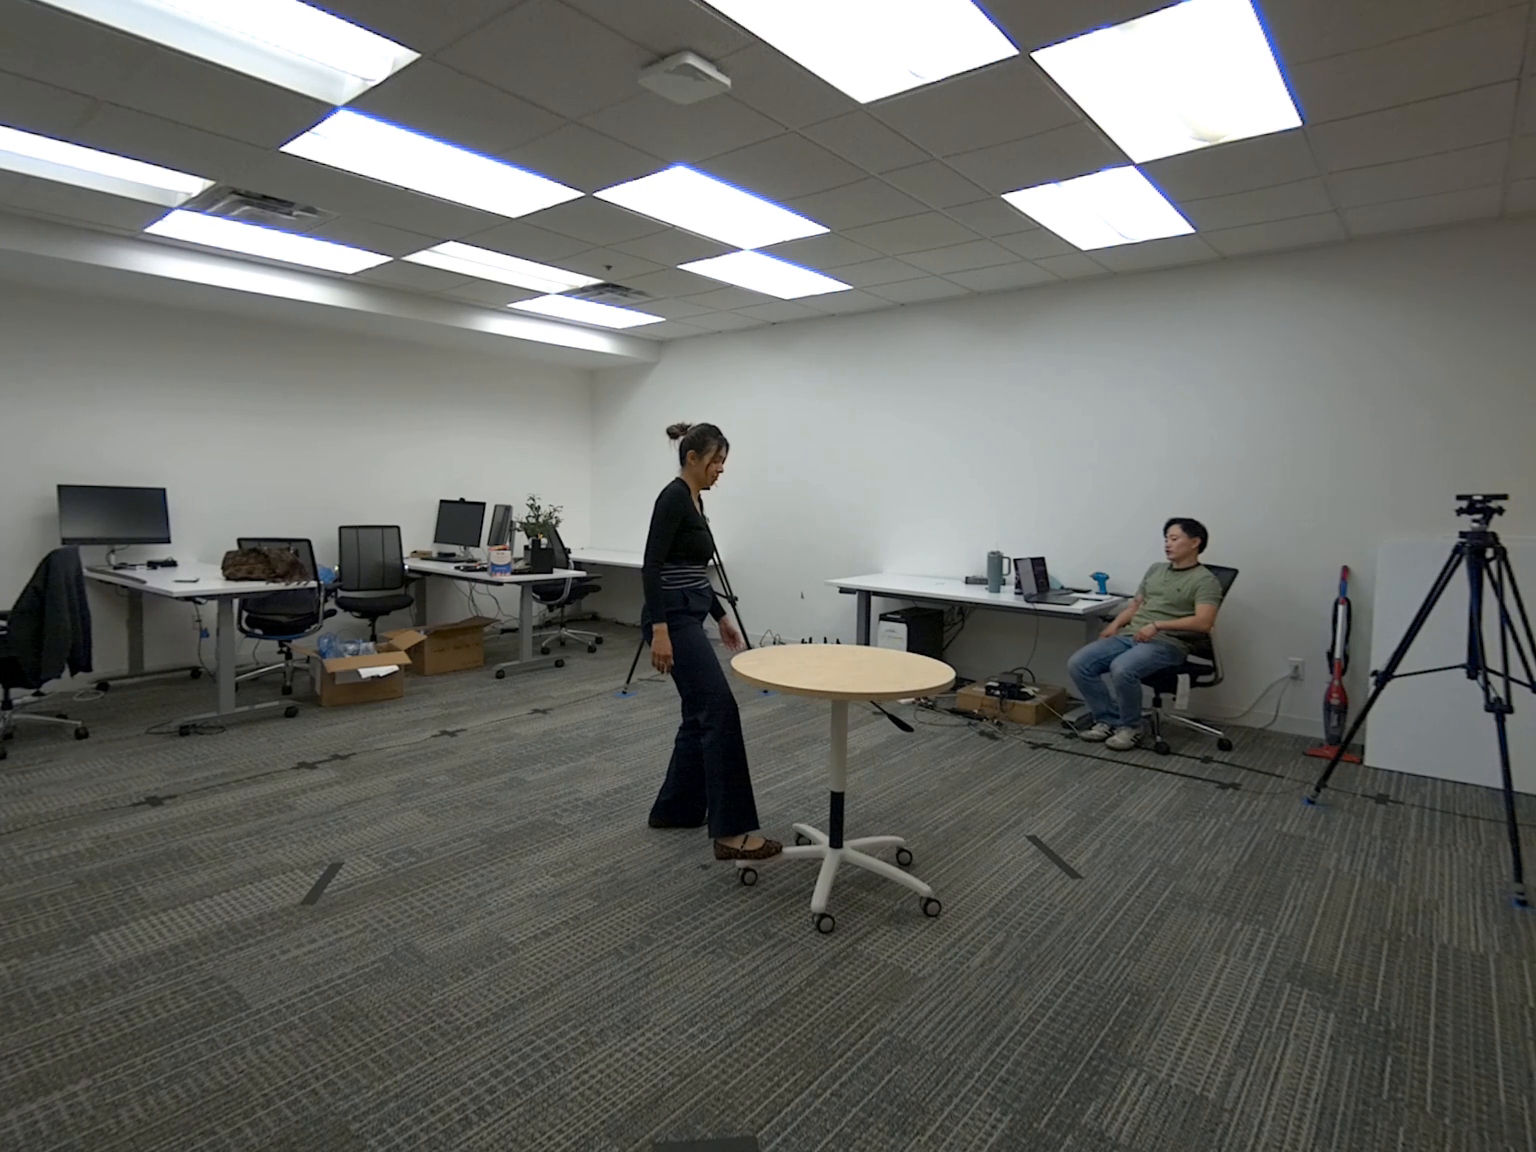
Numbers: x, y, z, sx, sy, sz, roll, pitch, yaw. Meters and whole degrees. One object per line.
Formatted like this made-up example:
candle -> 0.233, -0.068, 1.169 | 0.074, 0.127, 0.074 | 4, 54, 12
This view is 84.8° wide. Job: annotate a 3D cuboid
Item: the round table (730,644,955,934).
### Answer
round table -> 0.240, 0.699, 2.976 | 0.763, 0.791, 0.768 | 1, 5, -2
